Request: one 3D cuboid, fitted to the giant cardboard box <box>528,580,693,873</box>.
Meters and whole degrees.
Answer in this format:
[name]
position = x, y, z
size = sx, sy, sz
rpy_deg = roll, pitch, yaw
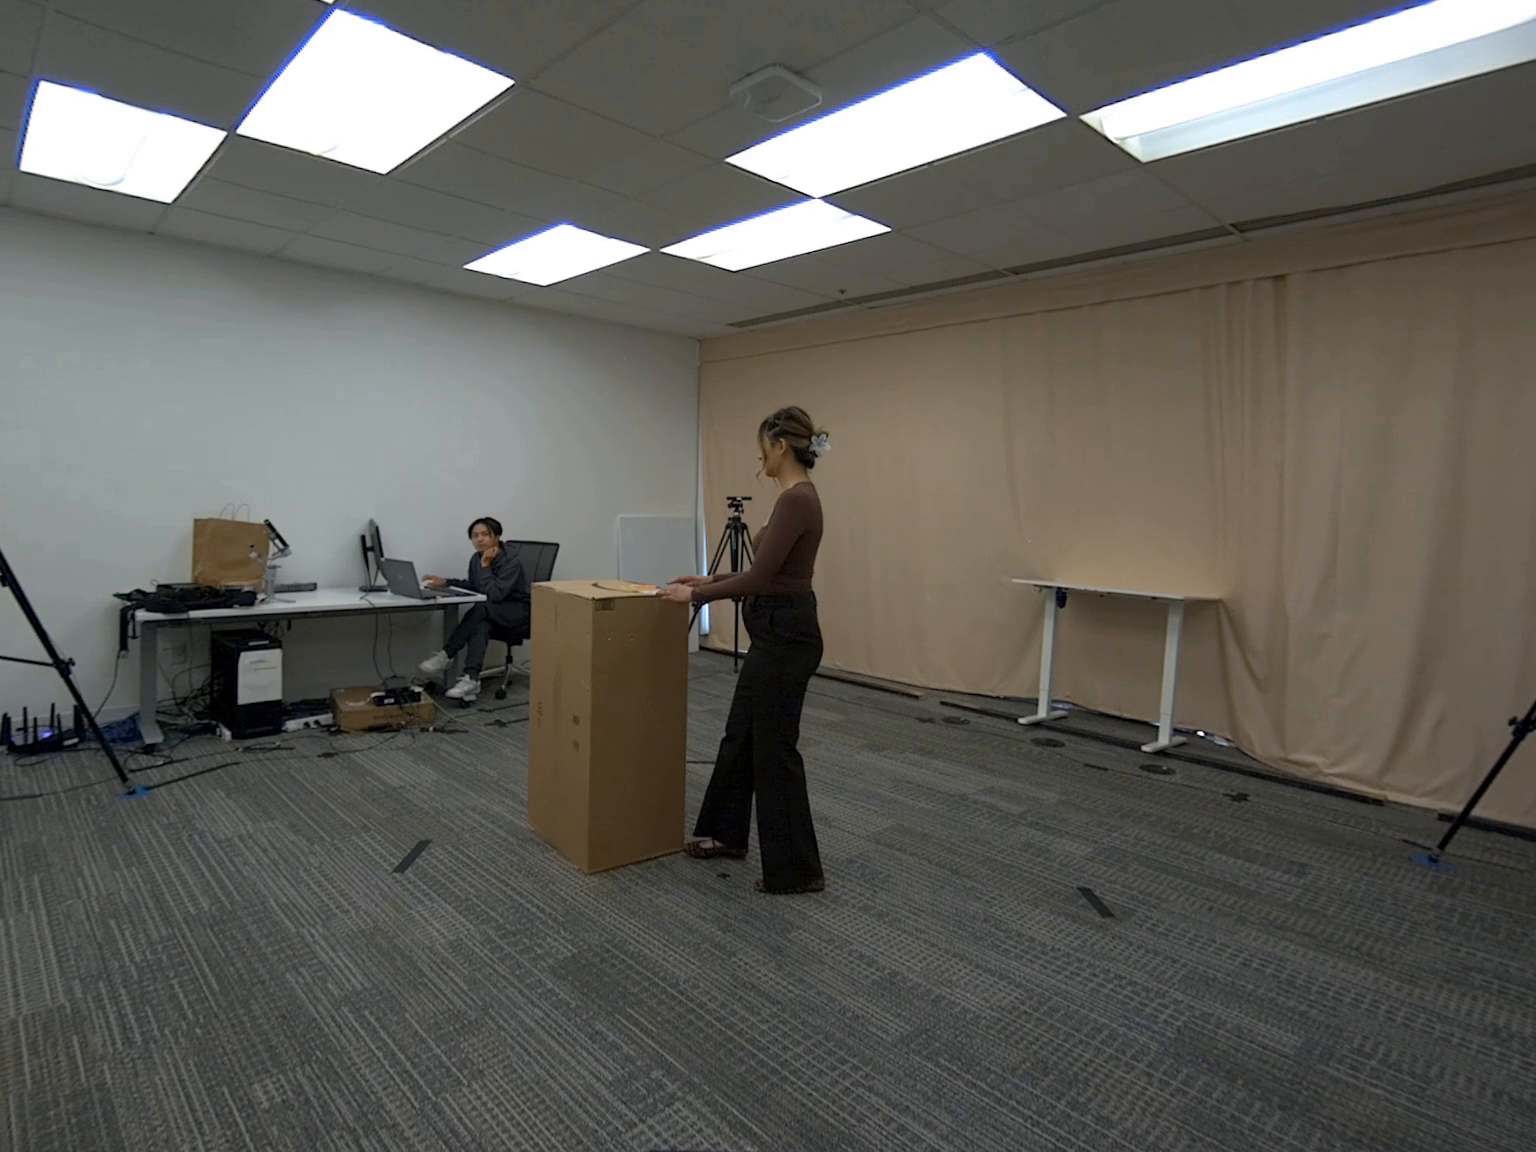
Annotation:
[giant cardboard box]
position = -0.665, 0.558, 3.411
size = 0.437, 1.025, 0.598
rpy_deg = 0, 4, -35
